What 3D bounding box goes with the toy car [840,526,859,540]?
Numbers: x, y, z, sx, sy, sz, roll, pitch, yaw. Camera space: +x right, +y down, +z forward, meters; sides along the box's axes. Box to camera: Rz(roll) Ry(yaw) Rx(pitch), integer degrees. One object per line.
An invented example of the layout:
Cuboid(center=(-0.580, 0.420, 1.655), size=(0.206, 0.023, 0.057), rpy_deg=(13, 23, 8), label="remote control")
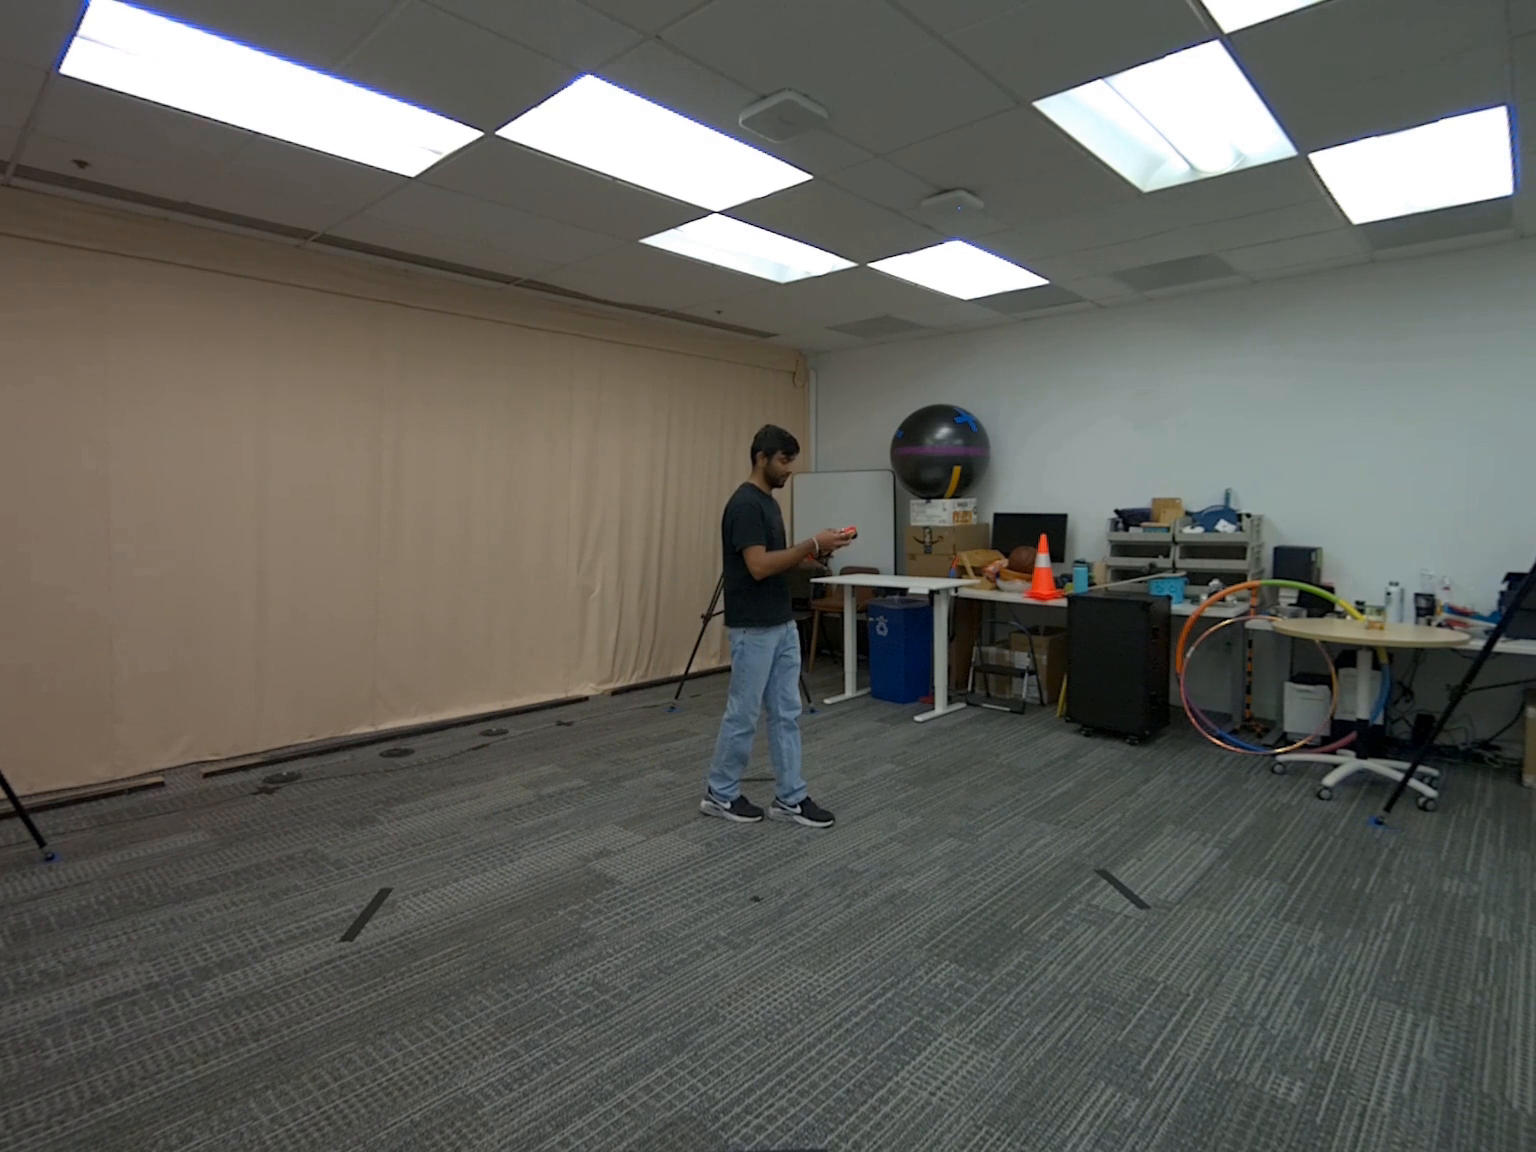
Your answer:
Cuboid(center=(0.263, -0.132, 3.568), size=(0.259, 0.083, 0.127), rpy_deg=(-23, -2, 31), label="toy car")
